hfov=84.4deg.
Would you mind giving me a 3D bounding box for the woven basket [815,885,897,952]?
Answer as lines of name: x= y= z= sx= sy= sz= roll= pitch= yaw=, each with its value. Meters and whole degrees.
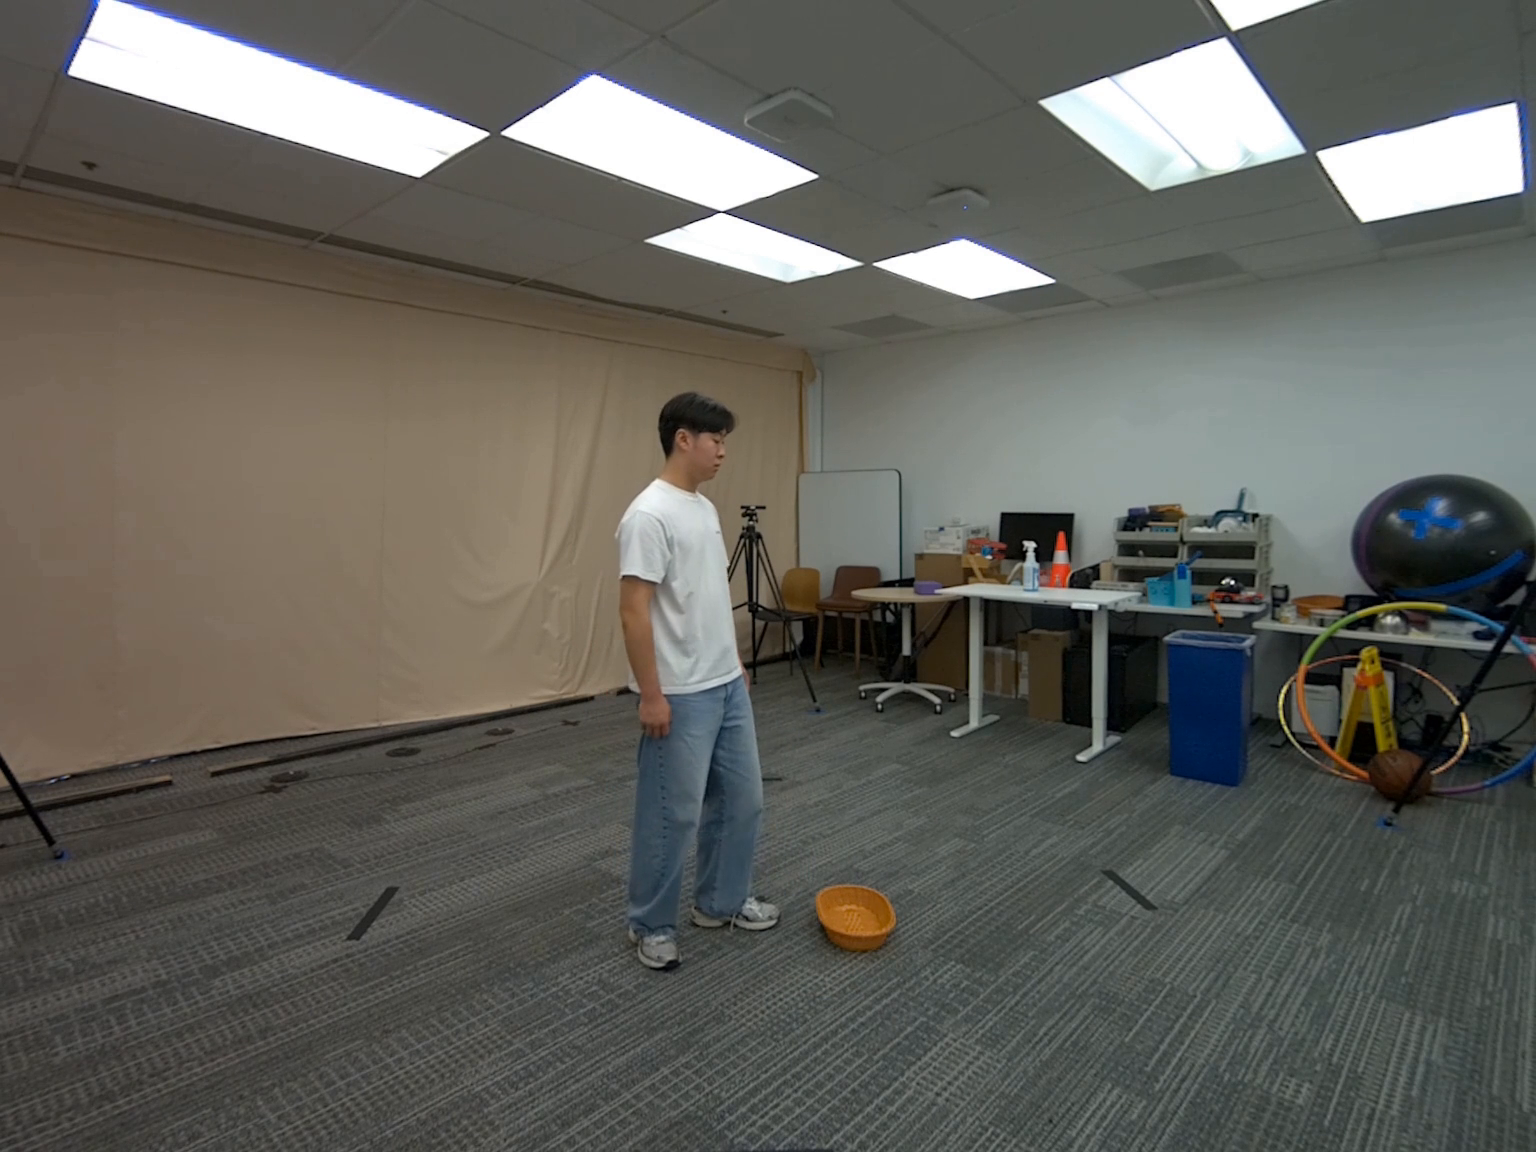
woven basket: x=0.286 y=1.126 z=2.758 sx=0.253 sy=0.073 sz=0.350 roll=0 pitch=5 yaw=1
